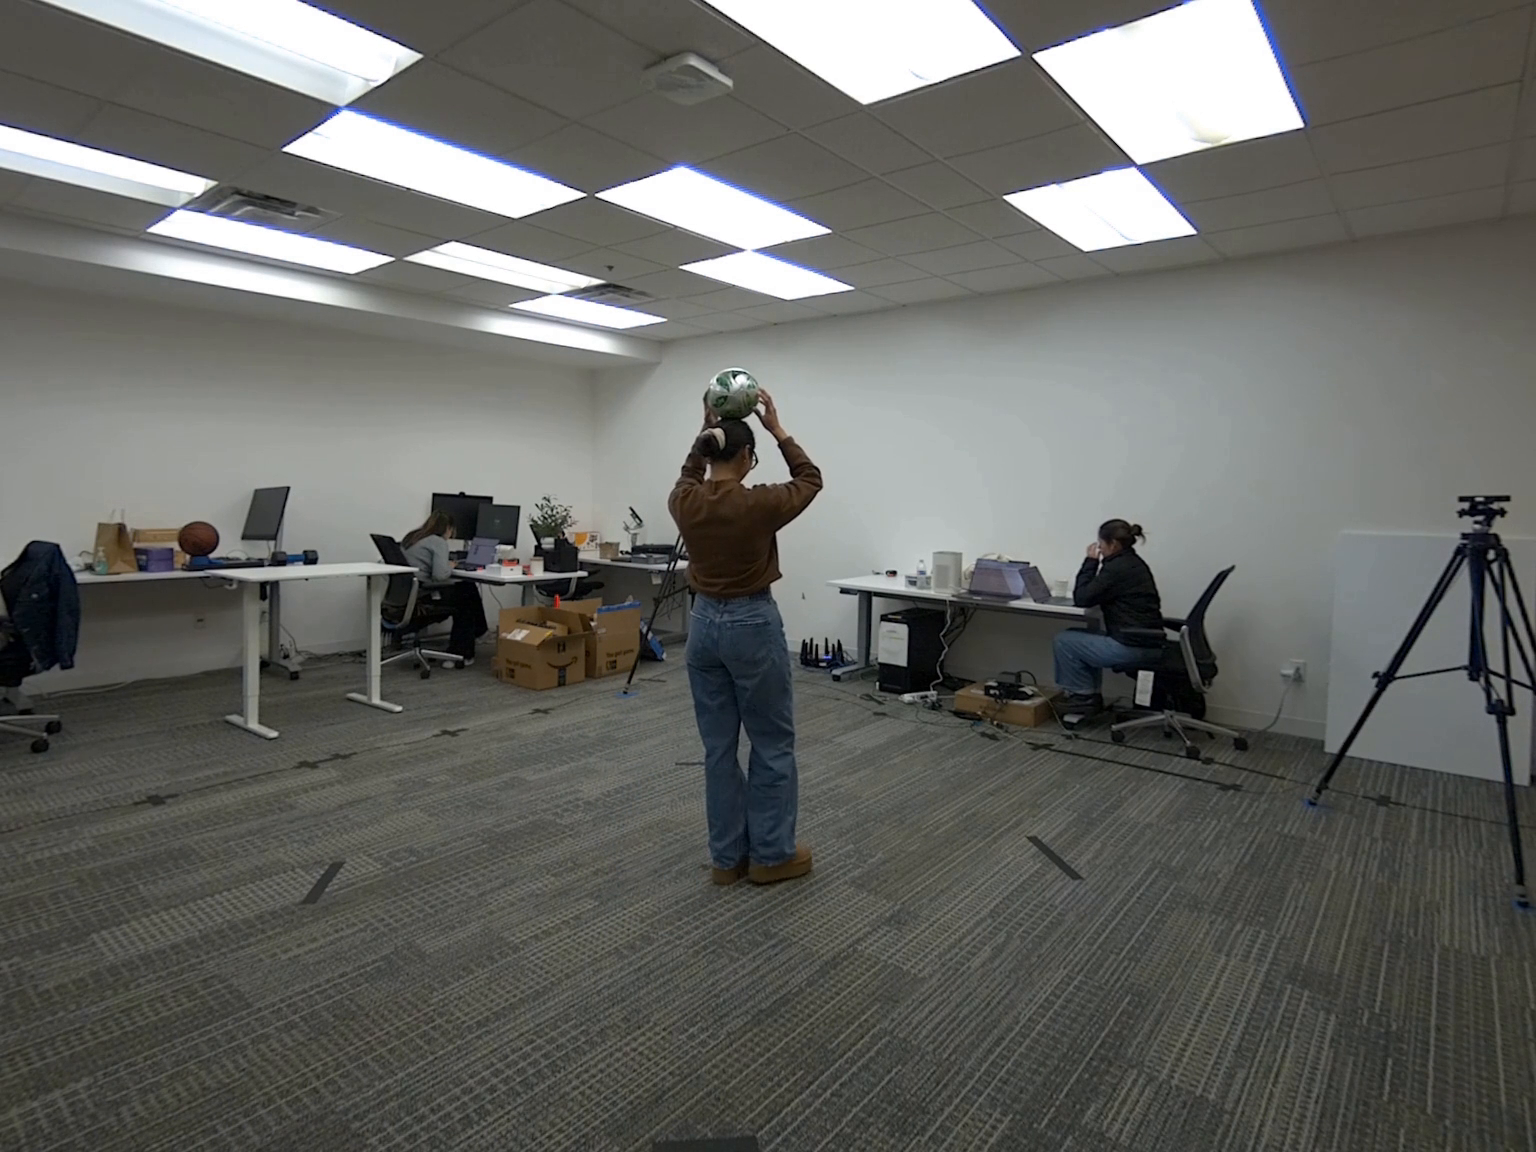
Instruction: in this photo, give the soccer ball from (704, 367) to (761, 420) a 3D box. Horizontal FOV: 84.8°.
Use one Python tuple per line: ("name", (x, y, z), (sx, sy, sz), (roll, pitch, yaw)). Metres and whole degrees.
("soccer ball", (-0.129, -0.649, 3.034), (0.187, 0.187, 0.188), (1, 4, -2))
